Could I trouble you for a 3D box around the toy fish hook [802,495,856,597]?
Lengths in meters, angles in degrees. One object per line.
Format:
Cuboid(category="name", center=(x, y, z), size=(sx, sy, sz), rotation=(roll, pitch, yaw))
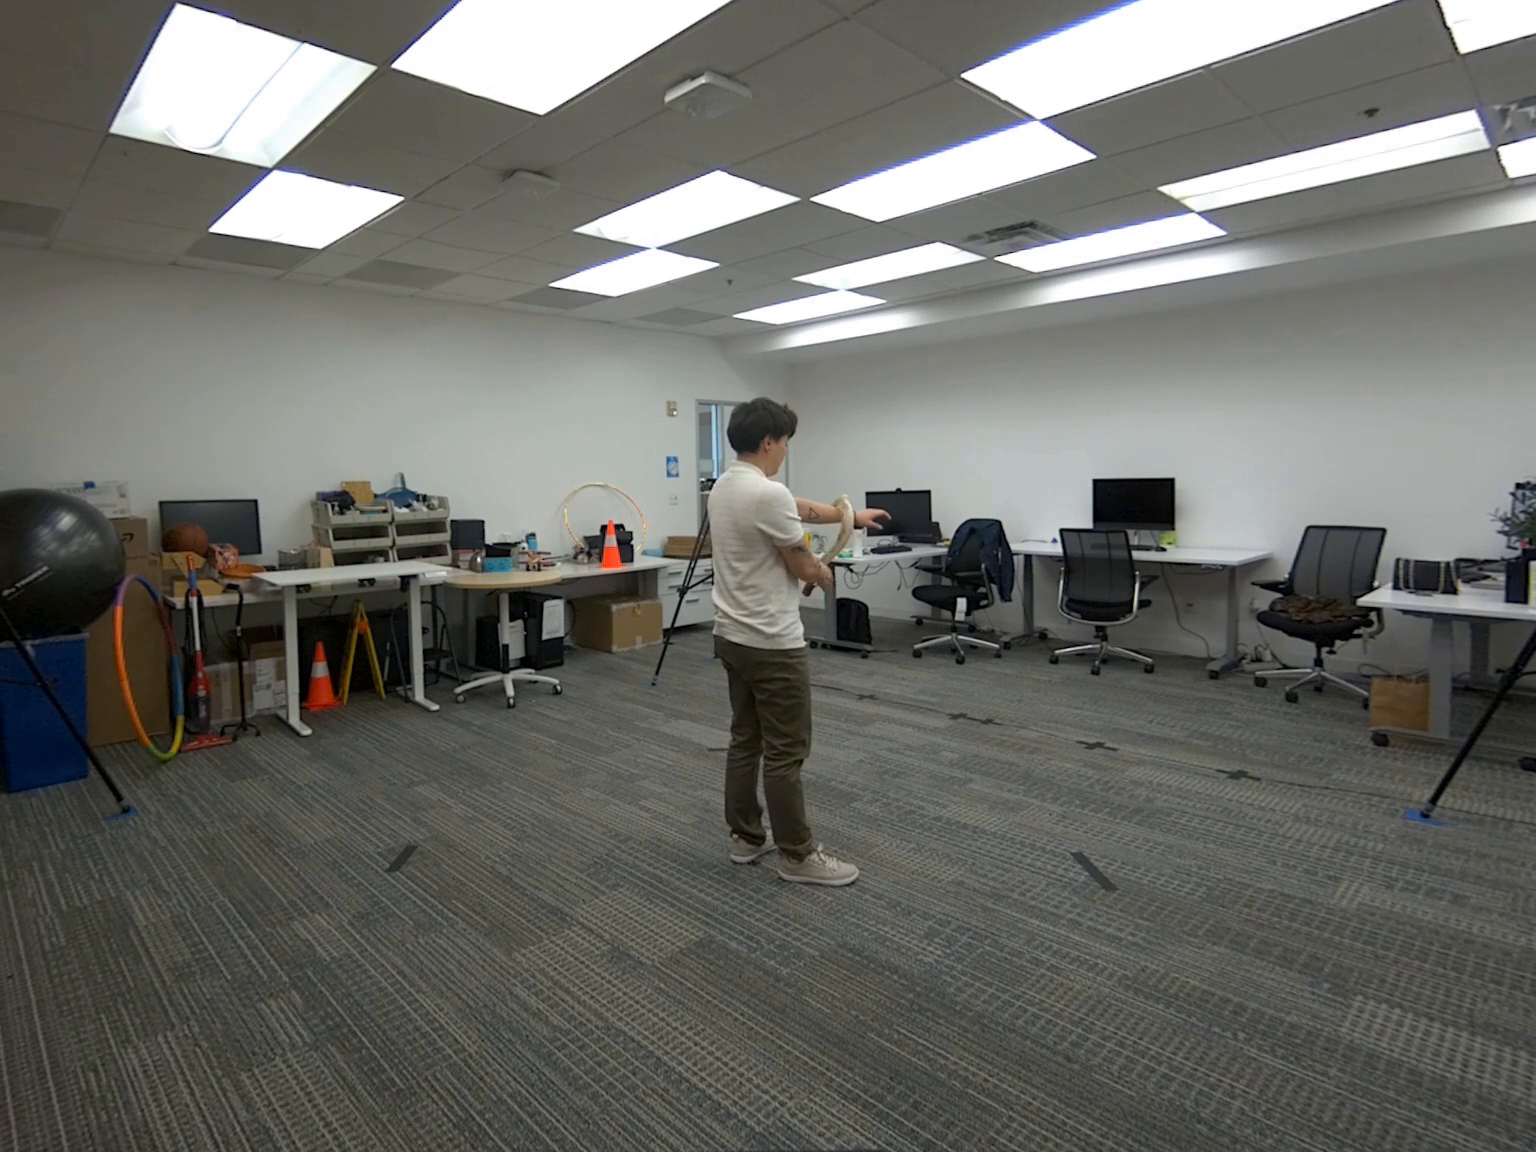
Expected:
Cuboid(category="toy fish hook", center=(0.248, -0.113, 3.471), size=(0.047, 0.231, 0.500), rotation=(12, -45, -15))
